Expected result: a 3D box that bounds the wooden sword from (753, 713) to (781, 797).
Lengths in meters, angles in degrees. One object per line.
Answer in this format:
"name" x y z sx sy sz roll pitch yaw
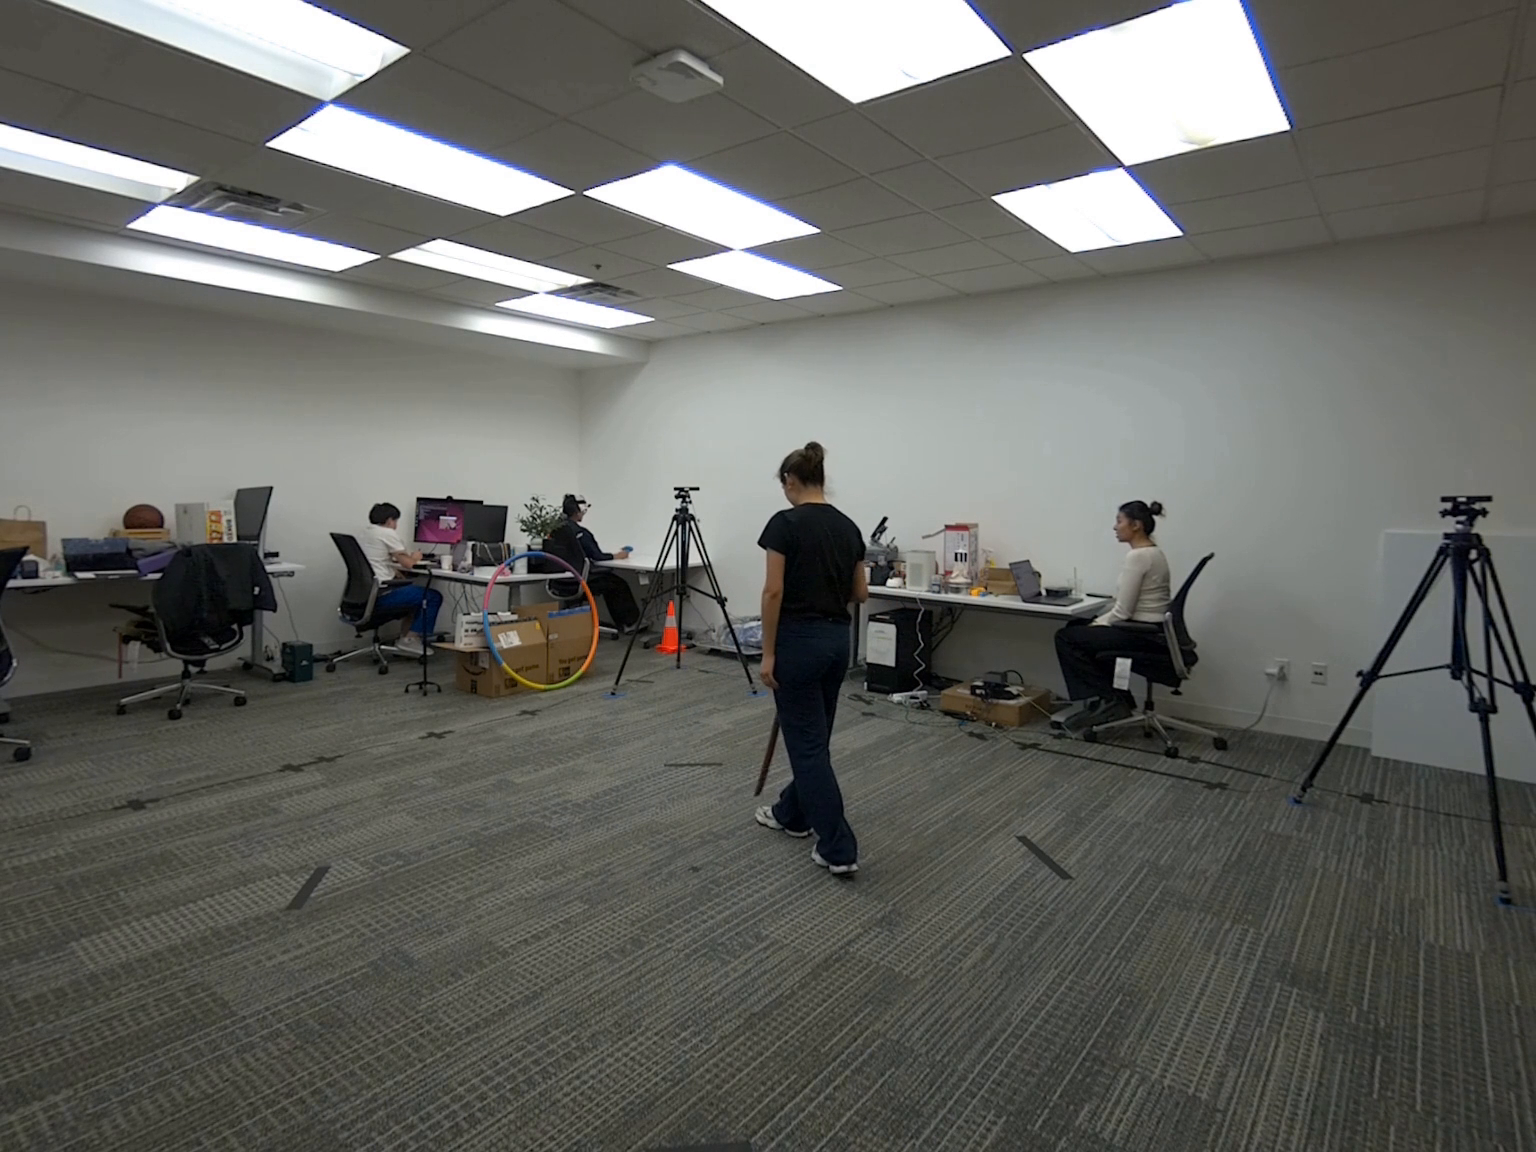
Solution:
"wooden sword" 0.092 0.477 3.634 0.053 1.018 0.023 19 11 42
